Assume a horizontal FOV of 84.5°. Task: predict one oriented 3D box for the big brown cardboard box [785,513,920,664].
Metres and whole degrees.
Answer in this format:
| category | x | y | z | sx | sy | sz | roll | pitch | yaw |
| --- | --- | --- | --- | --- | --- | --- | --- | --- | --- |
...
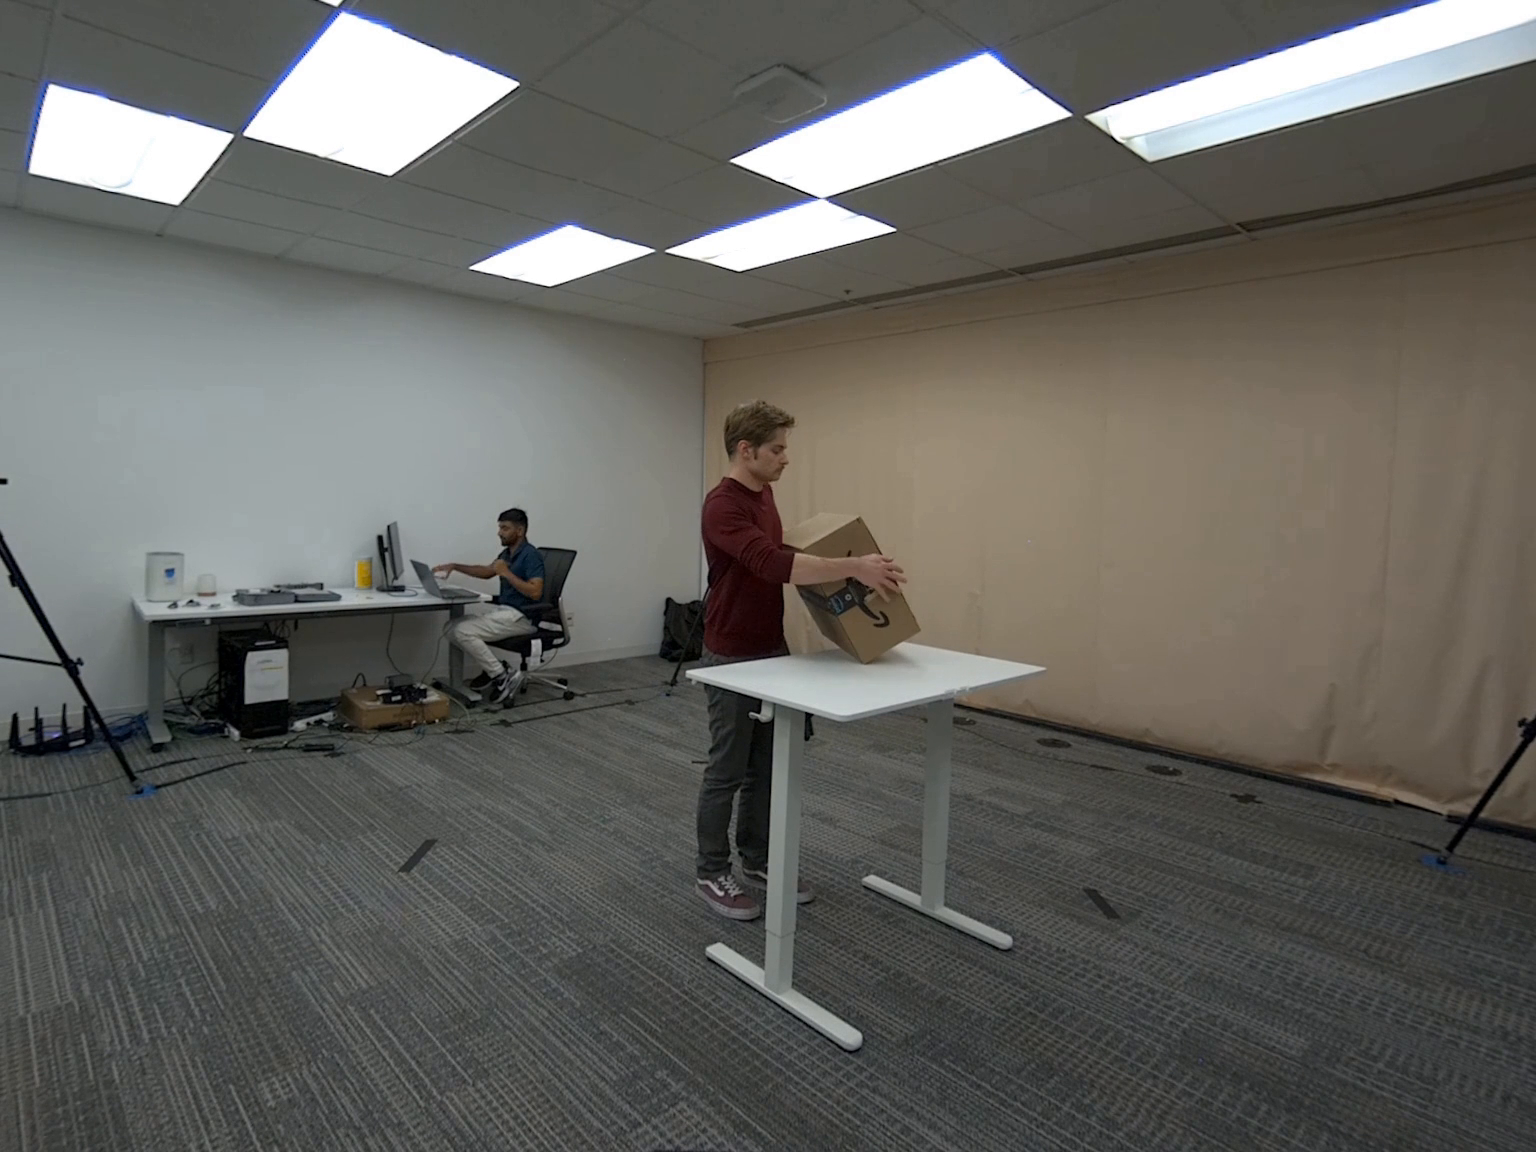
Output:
| category | x | y | z | sx | sy | sz | roll | pitch | yaw |
| --- | --- | --- | --- | --- | --- | --- | --- | --- | --- |
| big brown cardboard box | 0.240 | 0.017 | 2.892 | 0.233 | 0.415 | 0.593 | -29 | 7 | -3 |
